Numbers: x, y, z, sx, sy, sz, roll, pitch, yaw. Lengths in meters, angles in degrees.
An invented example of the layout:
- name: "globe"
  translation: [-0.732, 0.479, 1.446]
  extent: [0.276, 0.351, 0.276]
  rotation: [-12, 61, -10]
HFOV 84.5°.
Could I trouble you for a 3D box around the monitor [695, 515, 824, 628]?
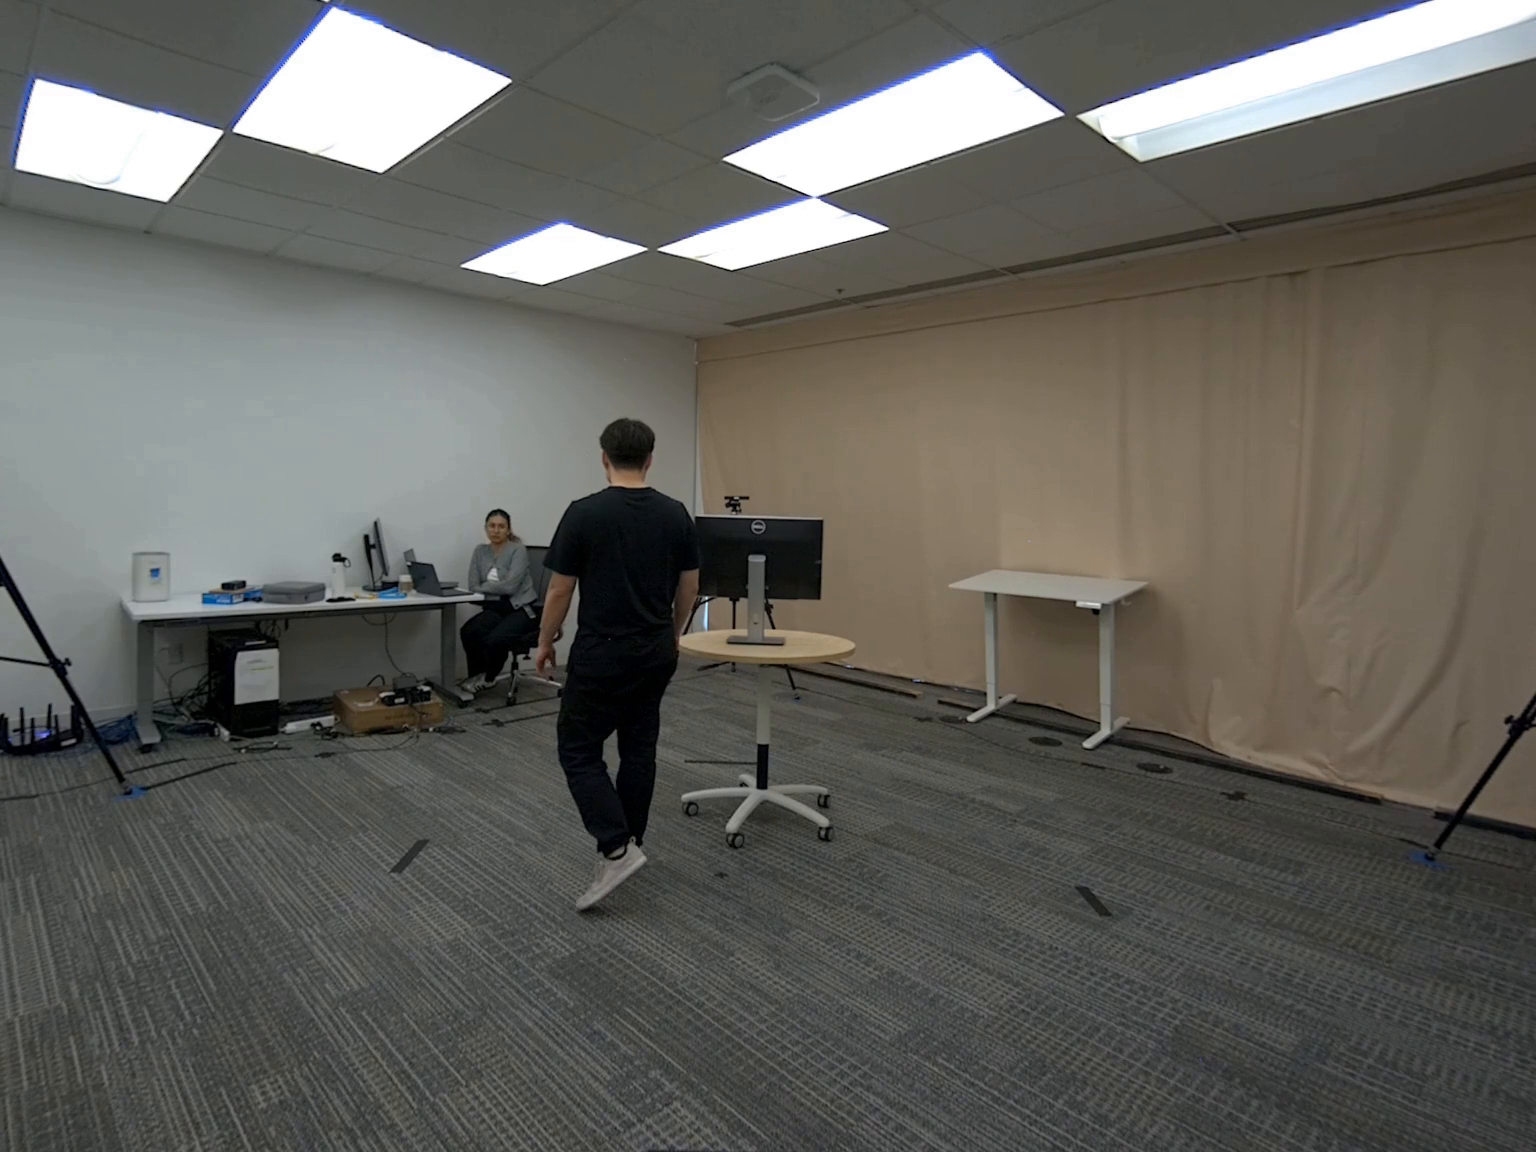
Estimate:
- name: "monitor"
  translation: [-0.050, 0.019, 3.605]
  extent: [0.540, 0.522, 0.187]
  rotation: [2, 1, 1]
